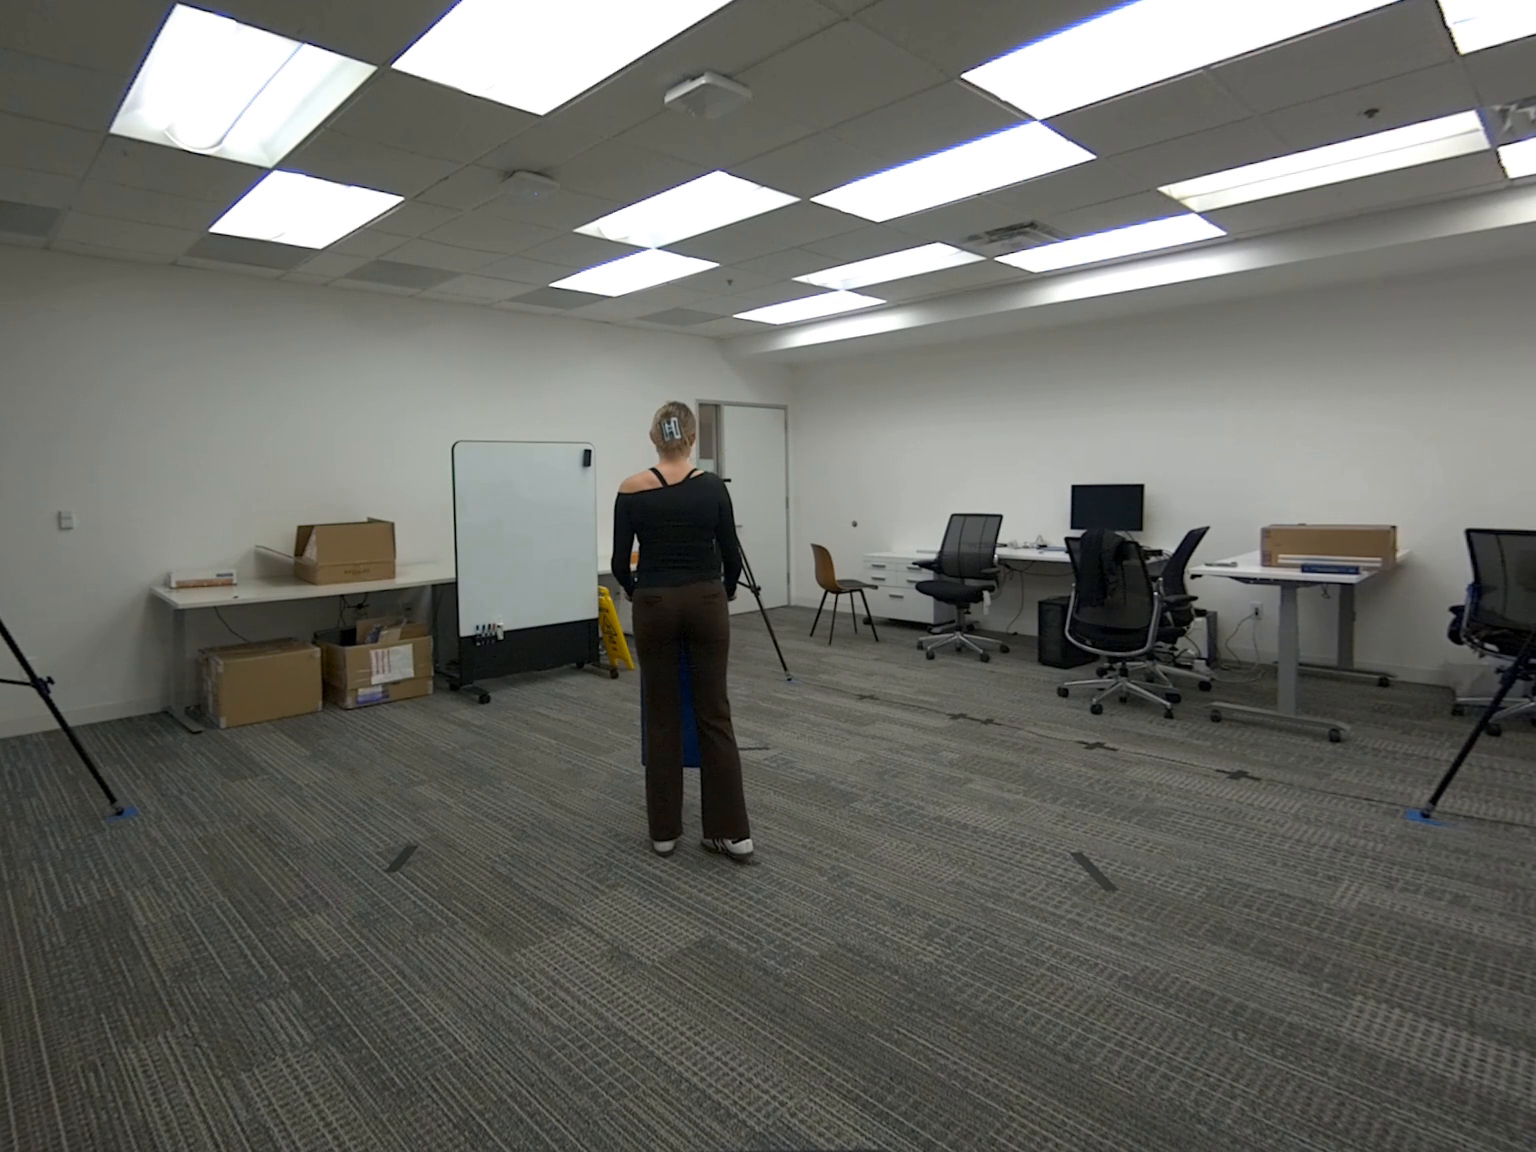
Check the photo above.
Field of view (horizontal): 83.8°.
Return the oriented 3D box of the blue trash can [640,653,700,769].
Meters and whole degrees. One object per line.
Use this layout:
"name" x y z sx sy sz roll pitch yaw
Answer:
"blue trash can" -0.362 0.411 3.585 0.374 0.713 0.379 1 2 -2
